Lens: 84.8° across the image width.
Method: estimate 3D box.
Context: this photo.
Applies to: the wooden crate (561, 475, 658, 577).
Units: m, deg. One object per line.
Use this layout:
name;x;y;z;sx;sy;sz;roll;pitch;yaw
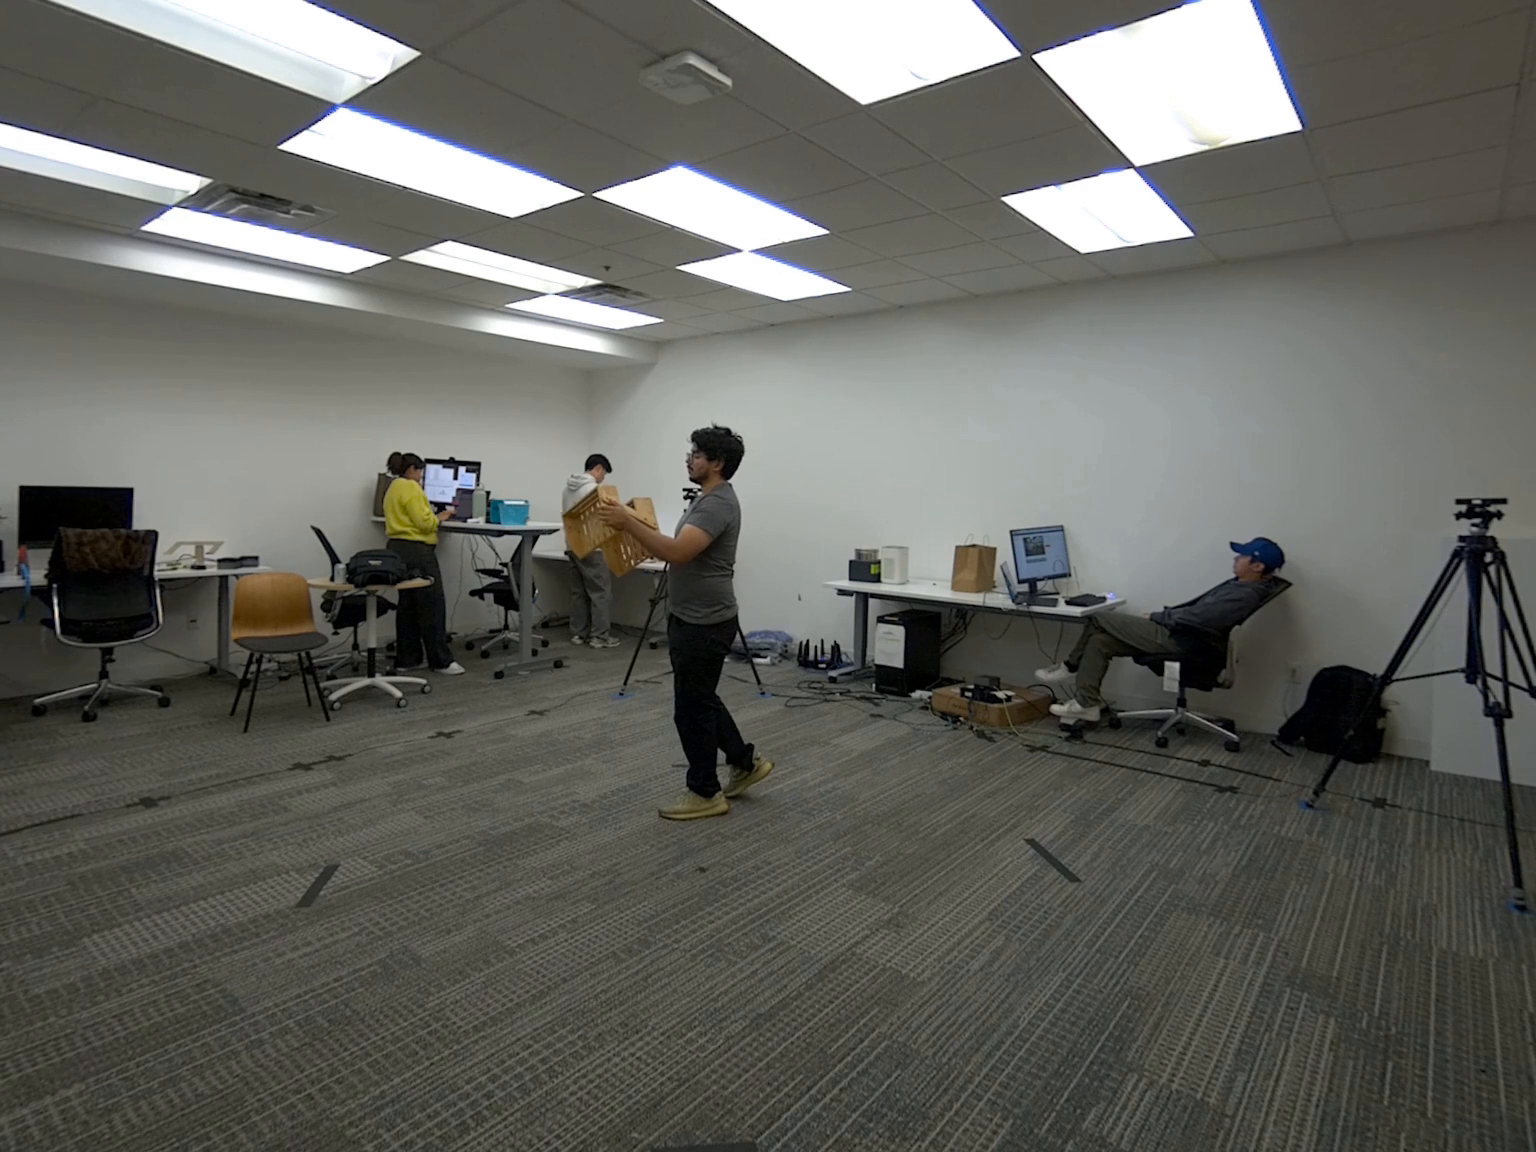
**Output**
wooden crate;-0.674;-0.186;3.598;0.265;0.308;0.328;-1;-21;-44
